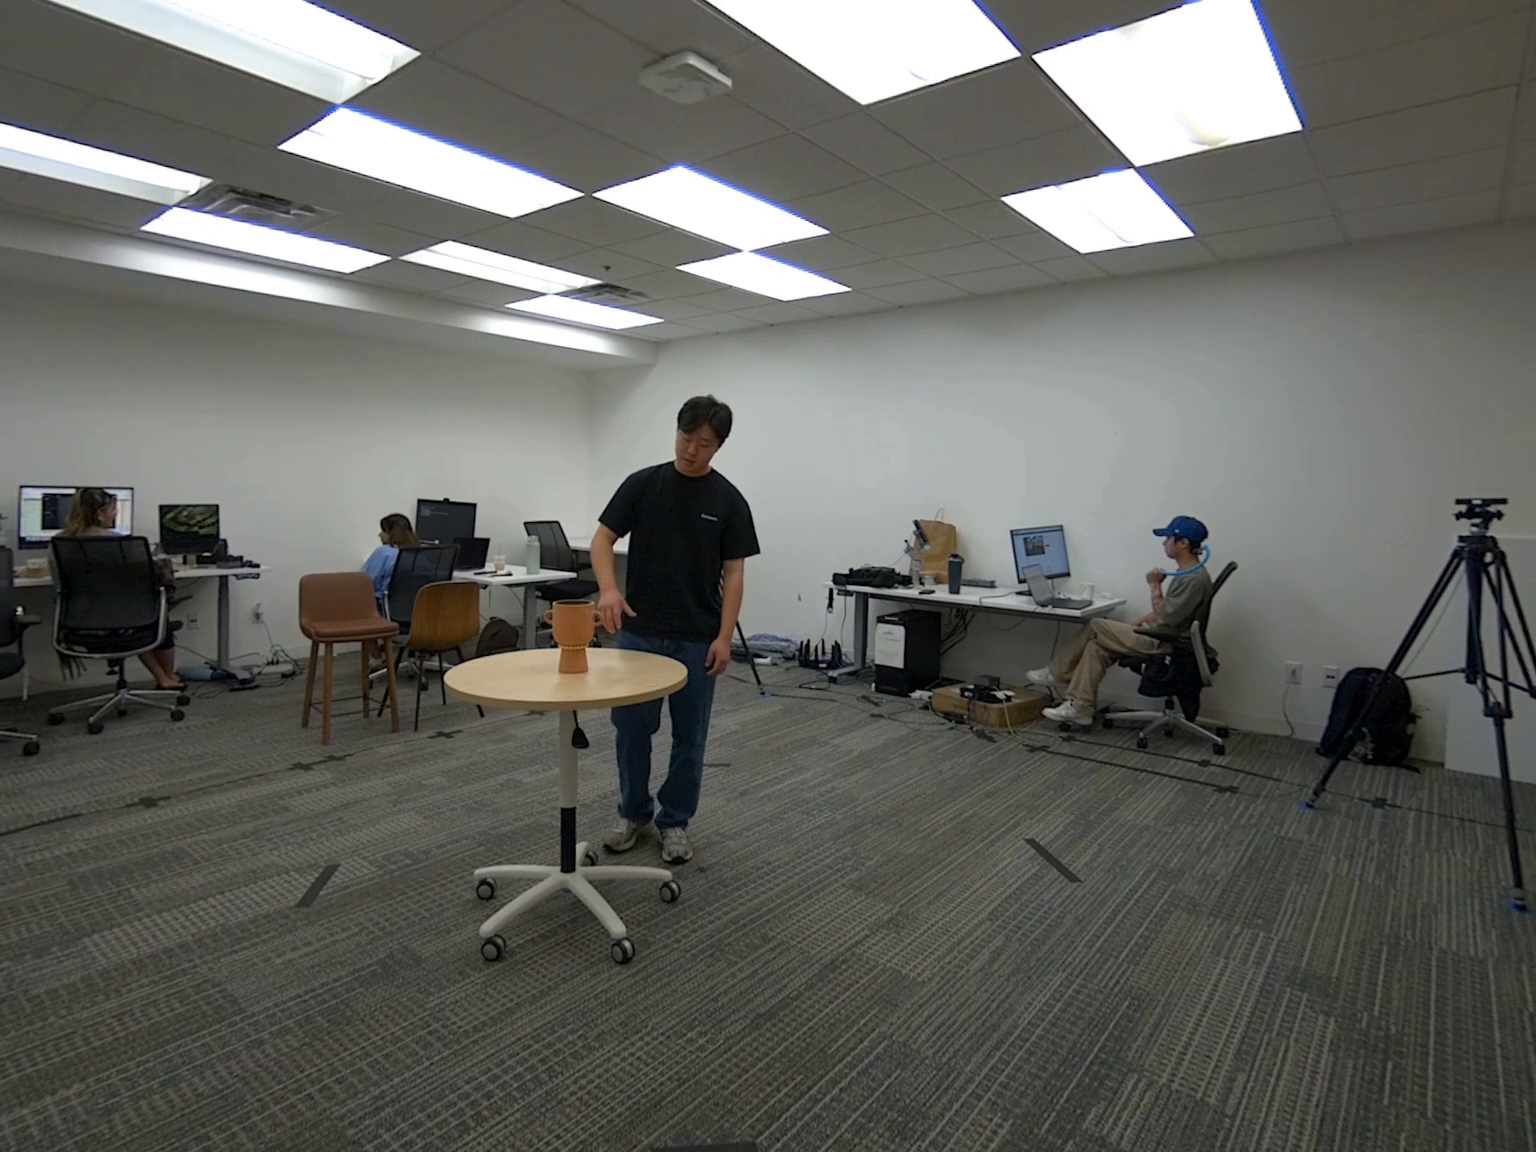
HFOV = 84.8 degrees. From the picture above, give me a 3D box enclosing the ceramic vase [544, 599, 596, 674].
[{"bbox_3d":[-0.641,0.194,2.735,0.130,0.219,0.164,-3,5,-43],"label":"ceramic vase"}]
